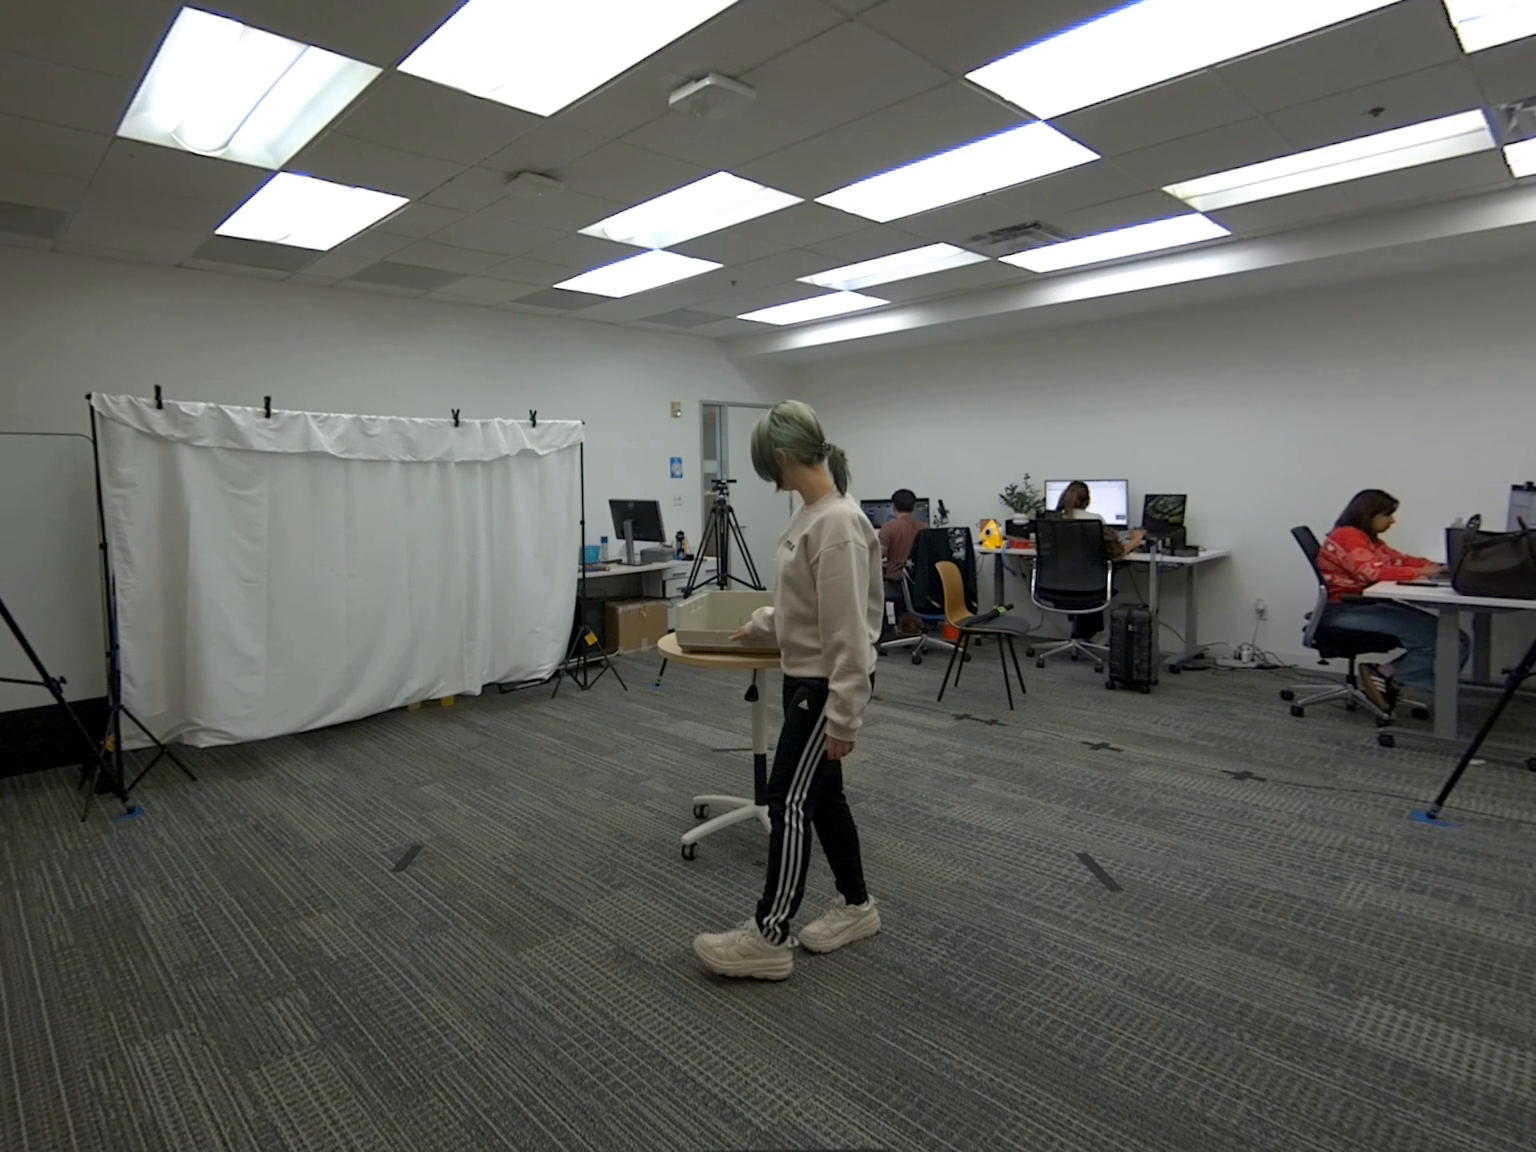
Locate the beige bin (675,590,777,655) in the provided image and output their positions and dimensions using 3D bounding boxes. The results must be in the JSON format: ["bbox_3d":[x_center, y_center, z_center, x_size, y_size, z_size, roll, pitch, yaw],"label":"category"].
[{"bbox_3d":[-0.081,0.167,3.138,0.429,0.188,0.372,-1,3,17],"label":"beige bin"}]
